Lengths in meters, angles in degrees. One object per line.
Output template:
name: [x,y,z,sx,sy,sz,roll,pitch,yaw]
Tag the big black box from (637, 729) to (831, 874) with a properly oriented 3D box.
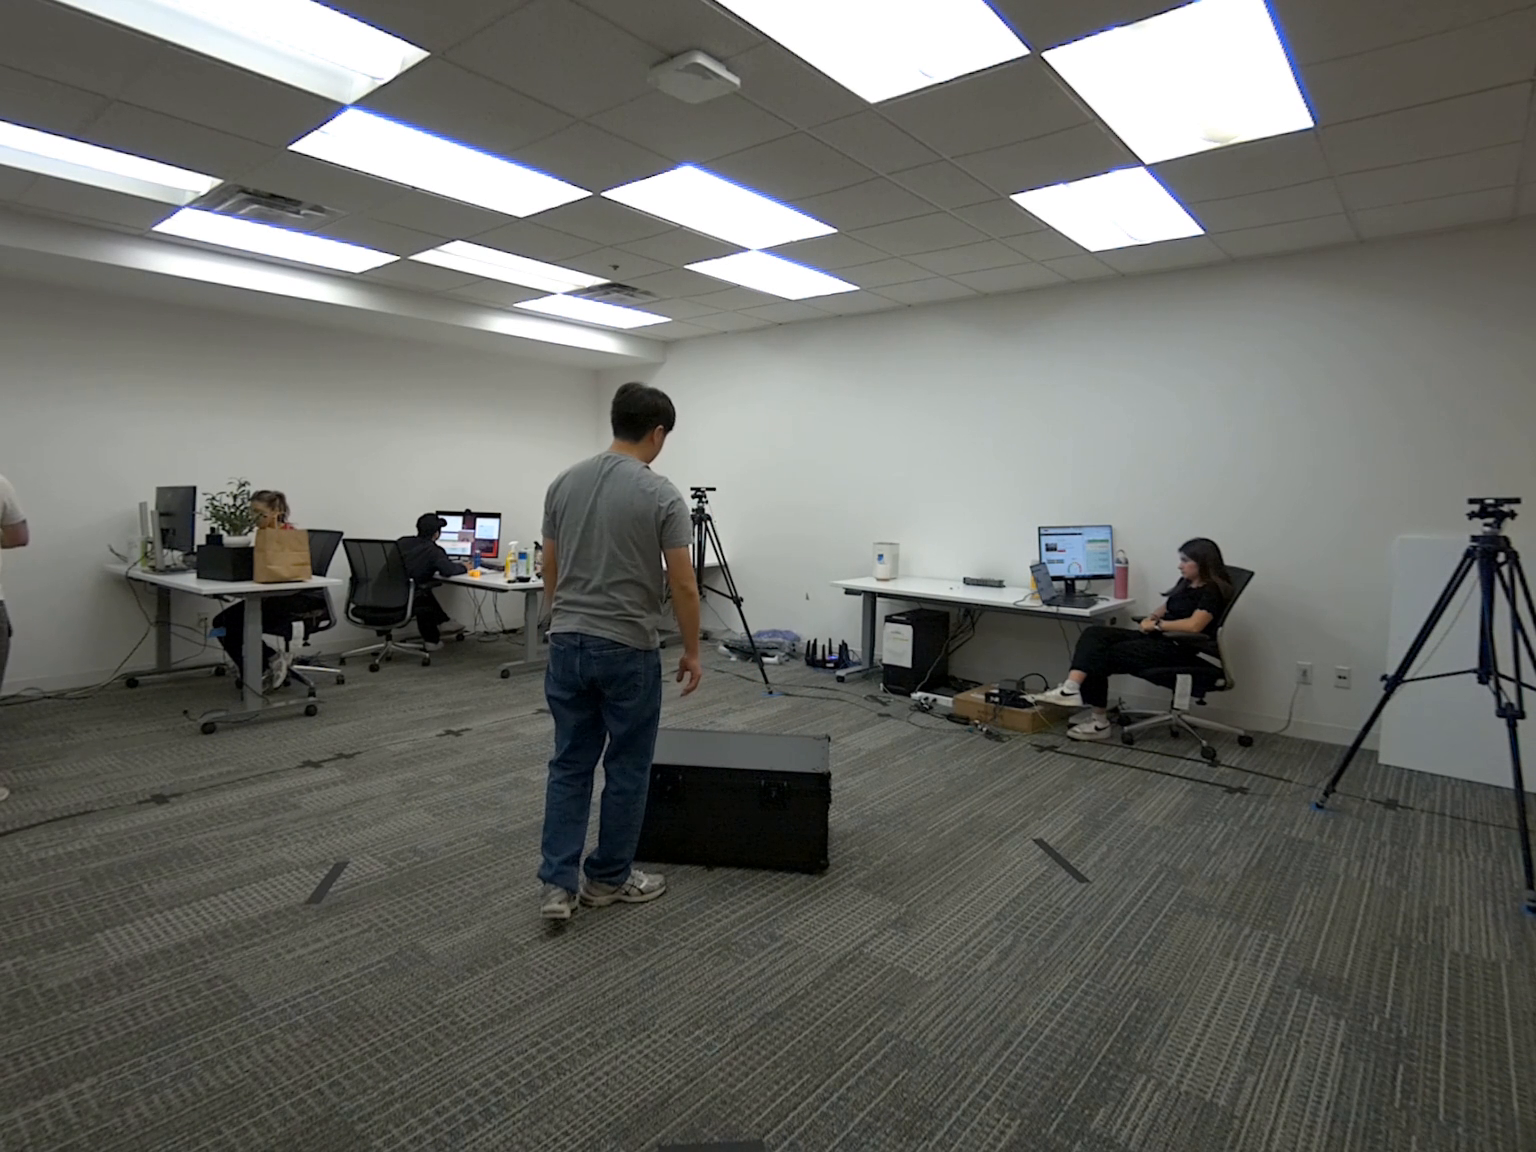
big black box: [-0.191,0.849,3.337,0.868,0.395,0.519,1,5,7]
